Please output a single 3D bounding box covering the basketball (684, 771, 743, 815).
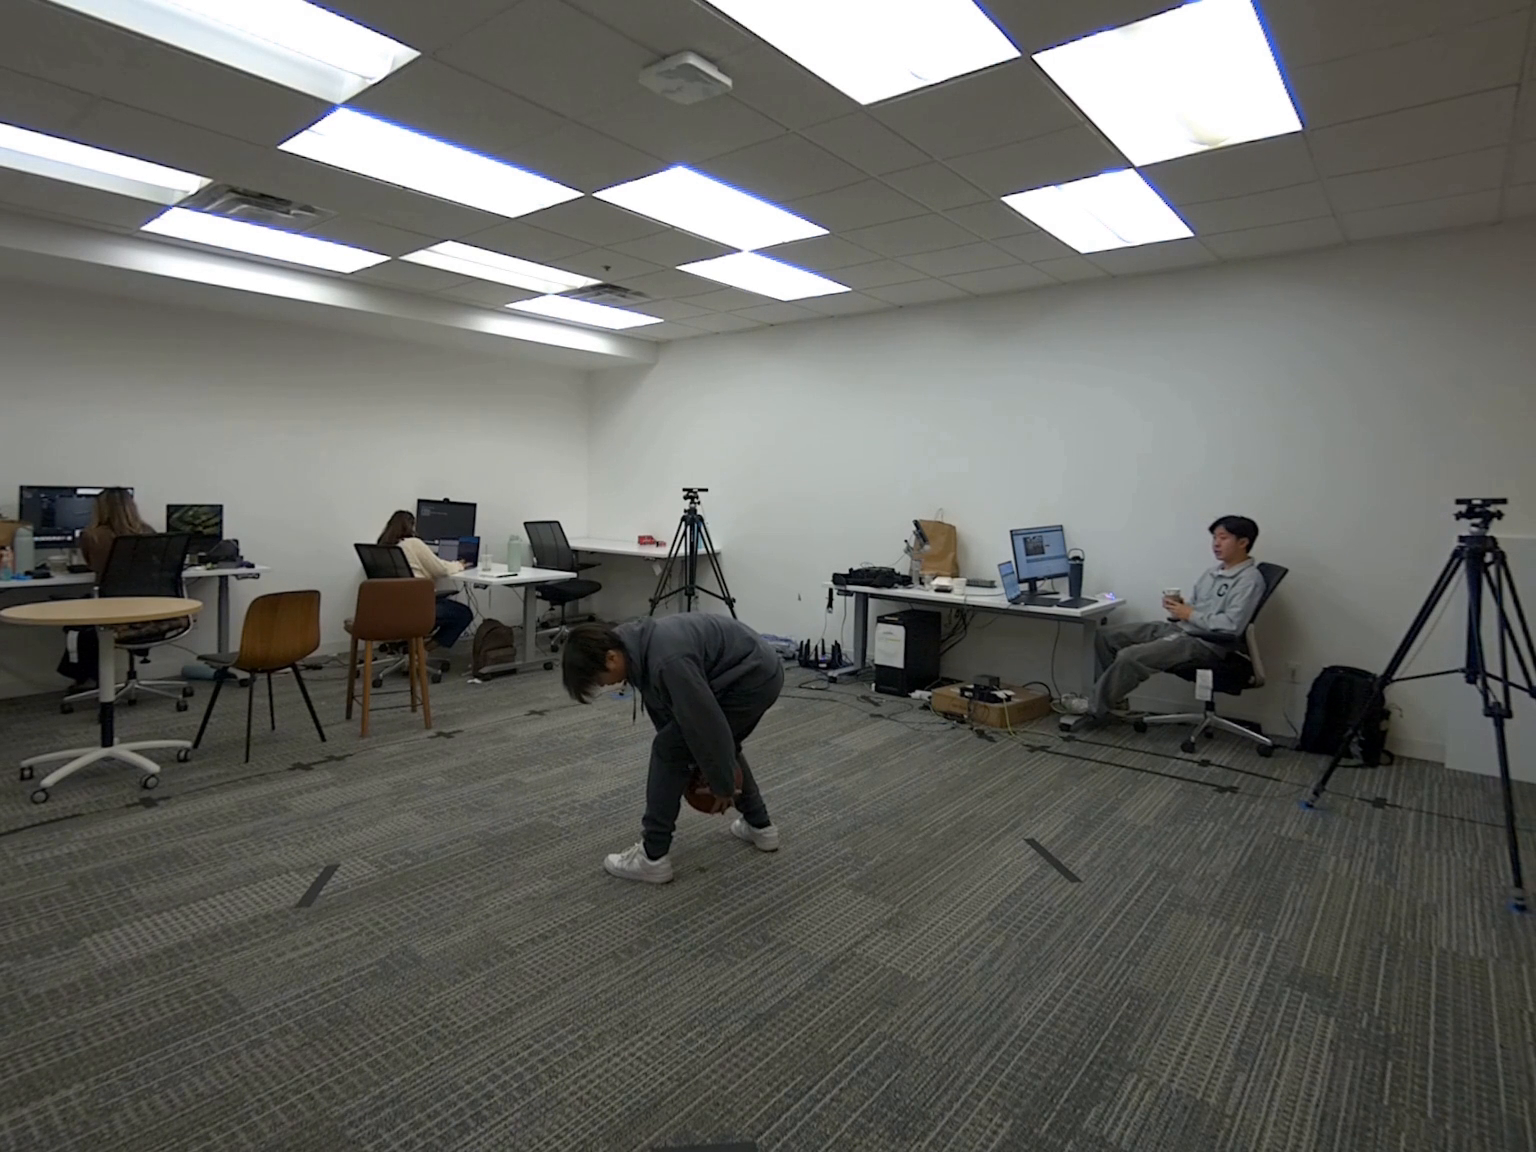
[{"bbox_3d":[-0.224,0.759,3.221,0.235,0.235,0.237,1,4,-2],"label":"basketball"}]
